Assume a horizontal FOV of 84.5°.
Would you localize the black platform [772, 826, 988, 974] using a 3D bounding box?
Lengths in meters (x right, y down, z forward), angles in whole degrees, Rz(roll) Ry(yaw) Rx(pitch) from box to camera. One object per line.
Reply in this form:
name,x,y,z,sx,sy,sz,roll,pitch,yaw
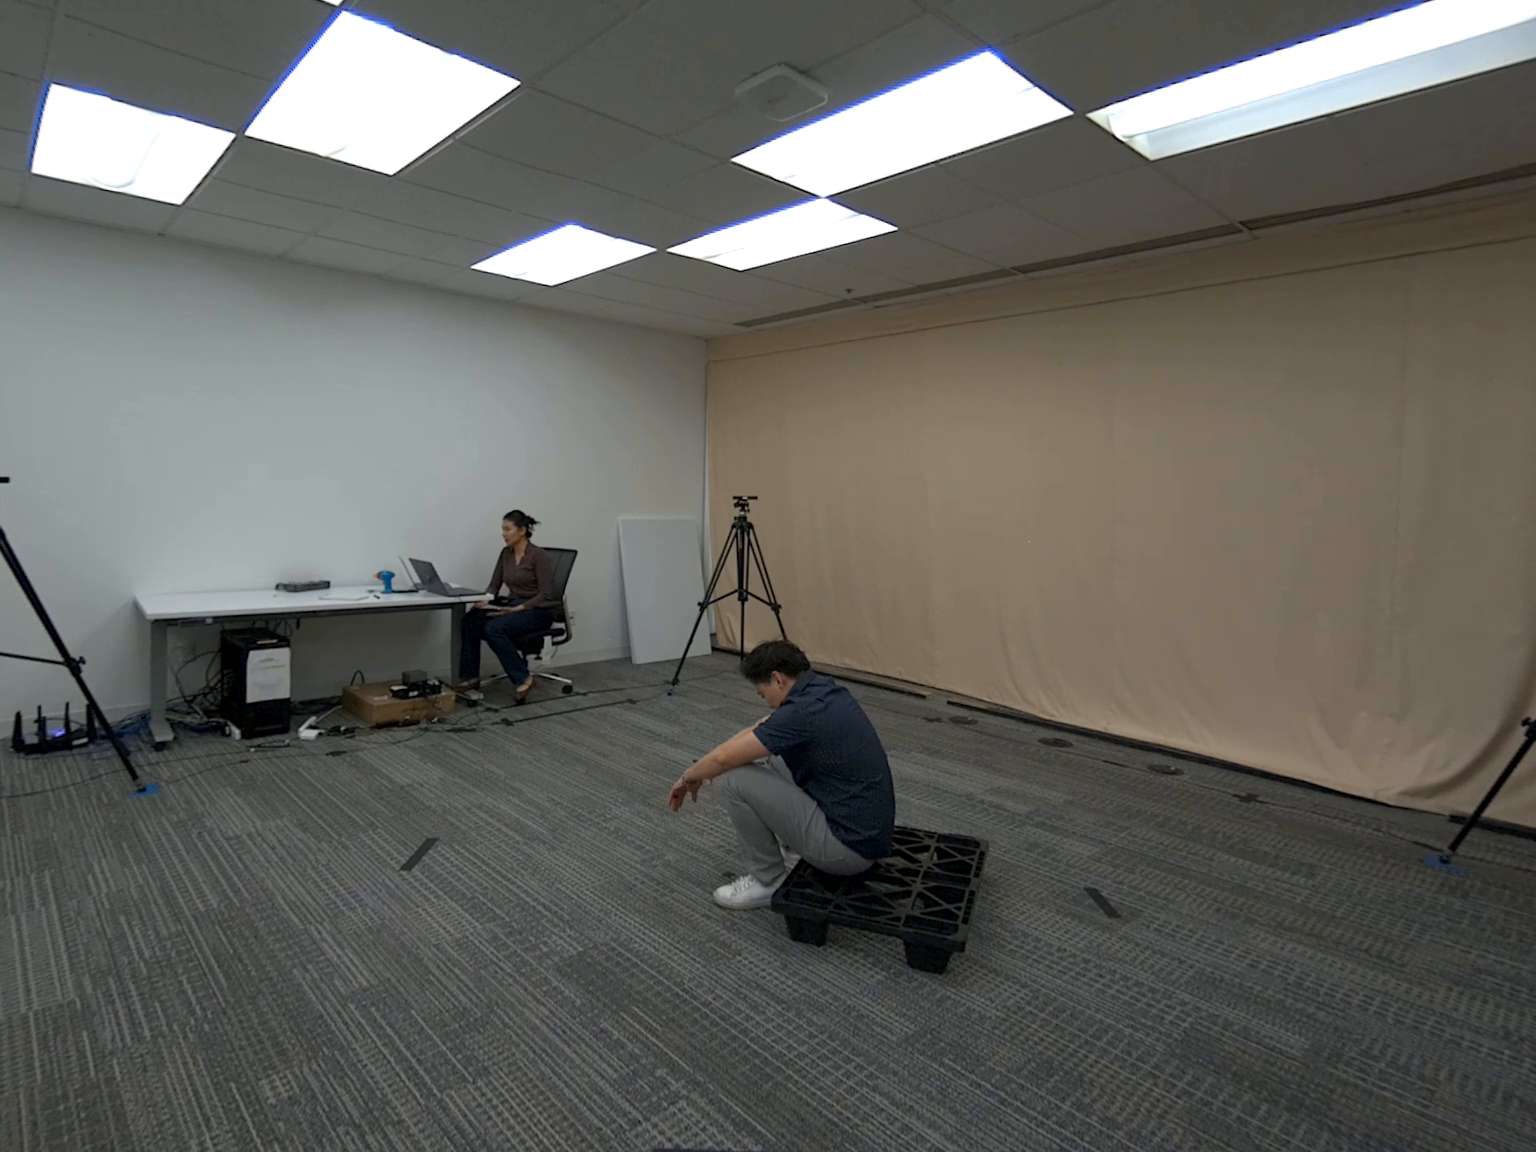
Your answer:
black platform,0.405,1.068,2.895,0.615,0.143,0.795,3,6,20
